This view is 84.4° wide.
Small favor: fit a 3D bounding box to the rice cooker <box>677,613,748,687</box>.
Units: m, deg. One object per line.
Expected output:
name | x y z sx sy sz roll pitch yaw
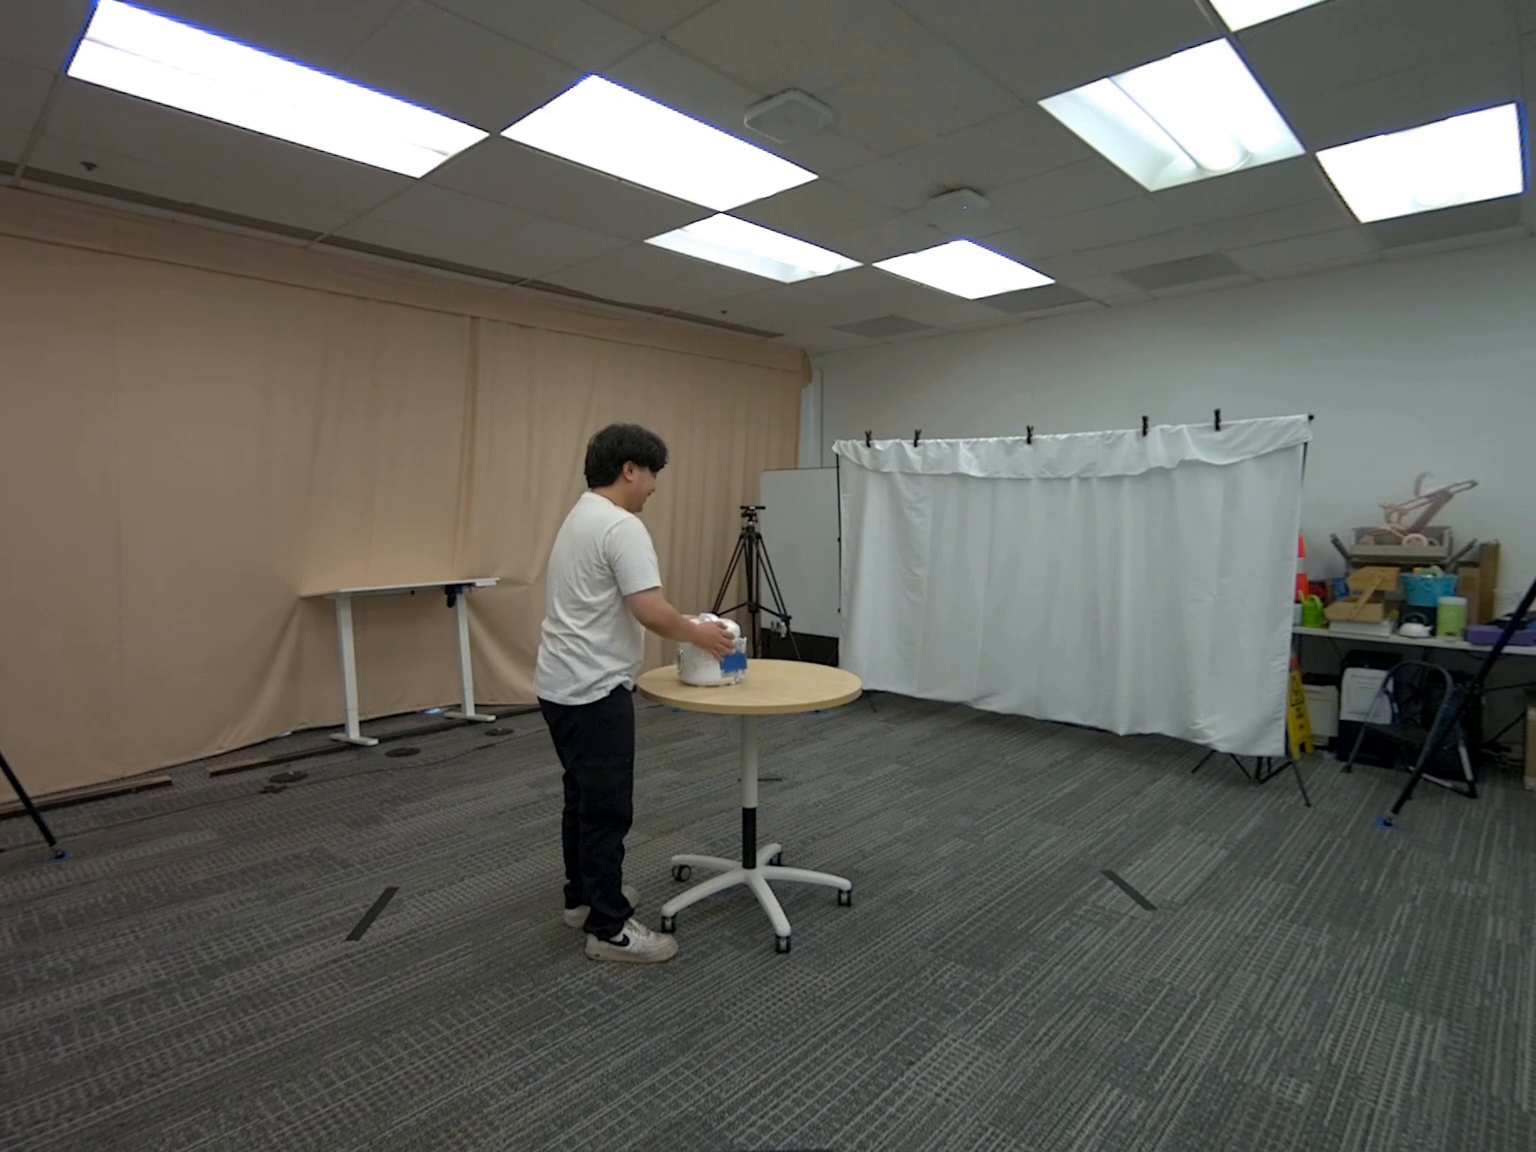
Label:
rice cooker | -0.195 0.247 2.839 0.212 0.232 0.226 -2 3 -25
